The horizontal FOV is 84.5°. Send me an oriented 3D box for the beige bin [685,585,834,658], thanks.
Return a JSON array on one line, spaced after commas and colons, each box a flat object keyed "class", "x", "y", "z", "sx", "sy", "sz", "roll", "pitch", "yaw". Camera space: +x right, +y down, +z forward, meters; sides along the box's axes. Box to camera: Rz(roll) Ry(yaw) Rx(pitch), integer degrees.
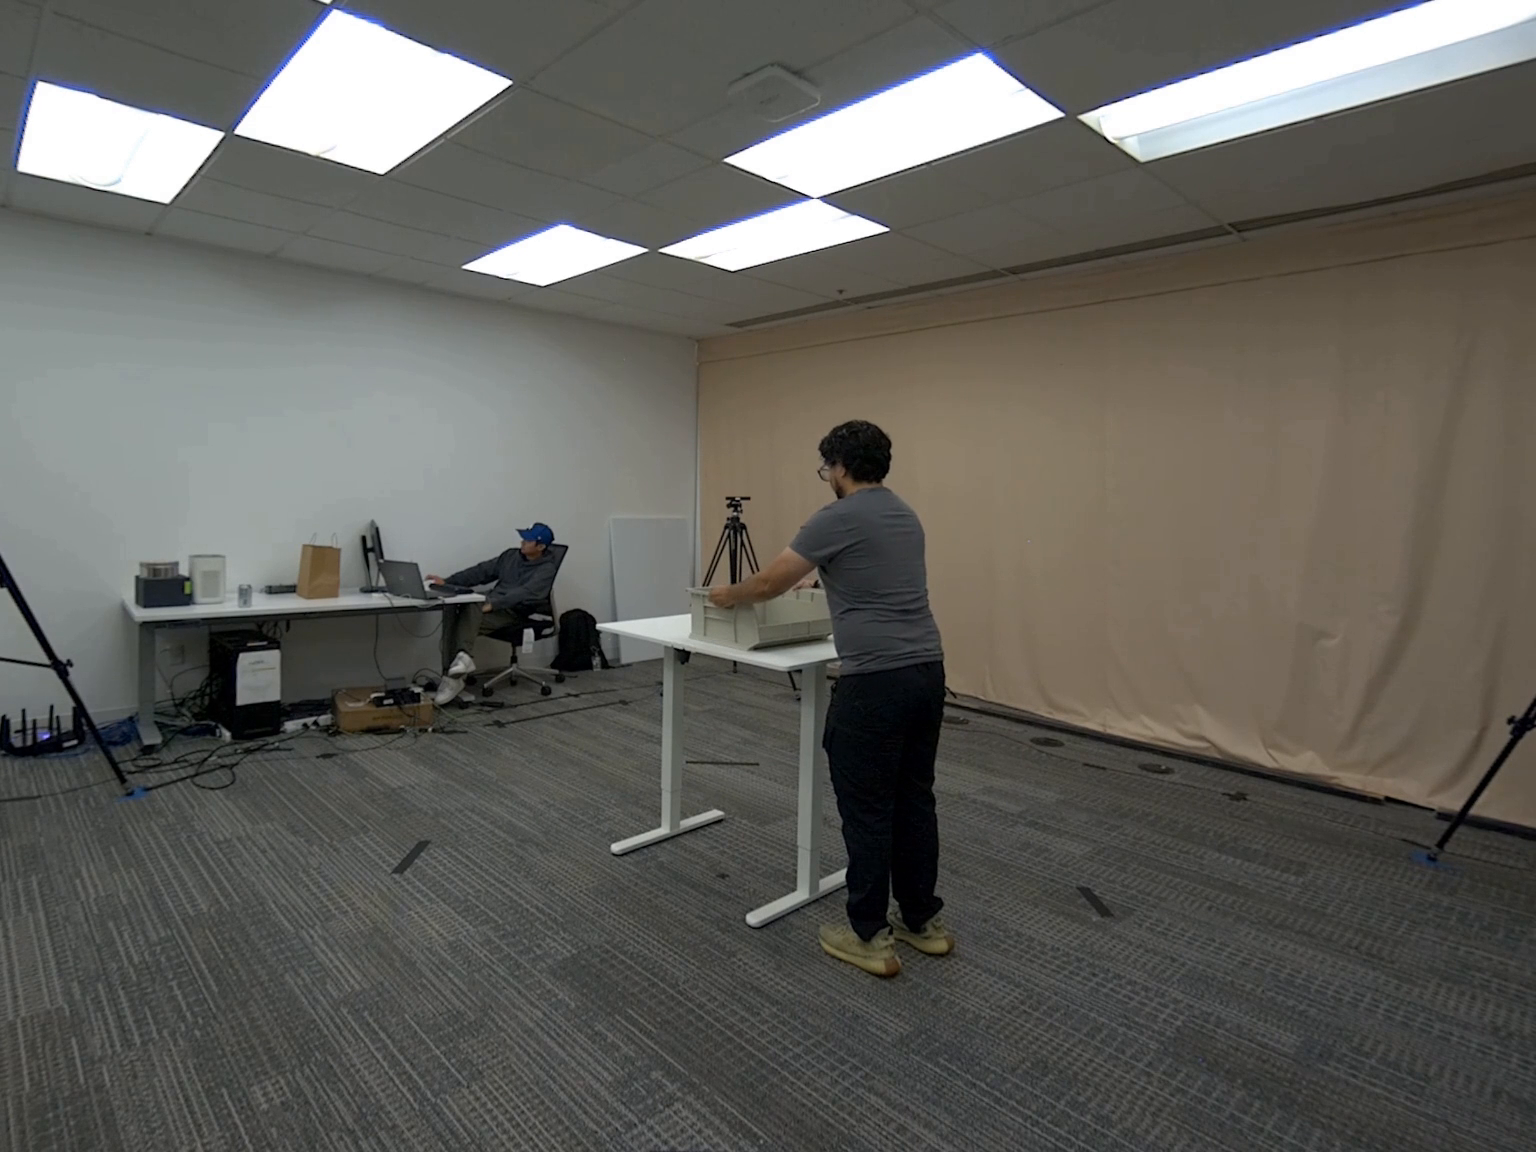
[{"class": "beige bin", "x": -0.016, "y": 0.145, "z": 3.050, "sx": 0.413, "sy": 0.188, "sz": 0.387, "roll": -5, "pitch": 7, "yaw": -44}]
